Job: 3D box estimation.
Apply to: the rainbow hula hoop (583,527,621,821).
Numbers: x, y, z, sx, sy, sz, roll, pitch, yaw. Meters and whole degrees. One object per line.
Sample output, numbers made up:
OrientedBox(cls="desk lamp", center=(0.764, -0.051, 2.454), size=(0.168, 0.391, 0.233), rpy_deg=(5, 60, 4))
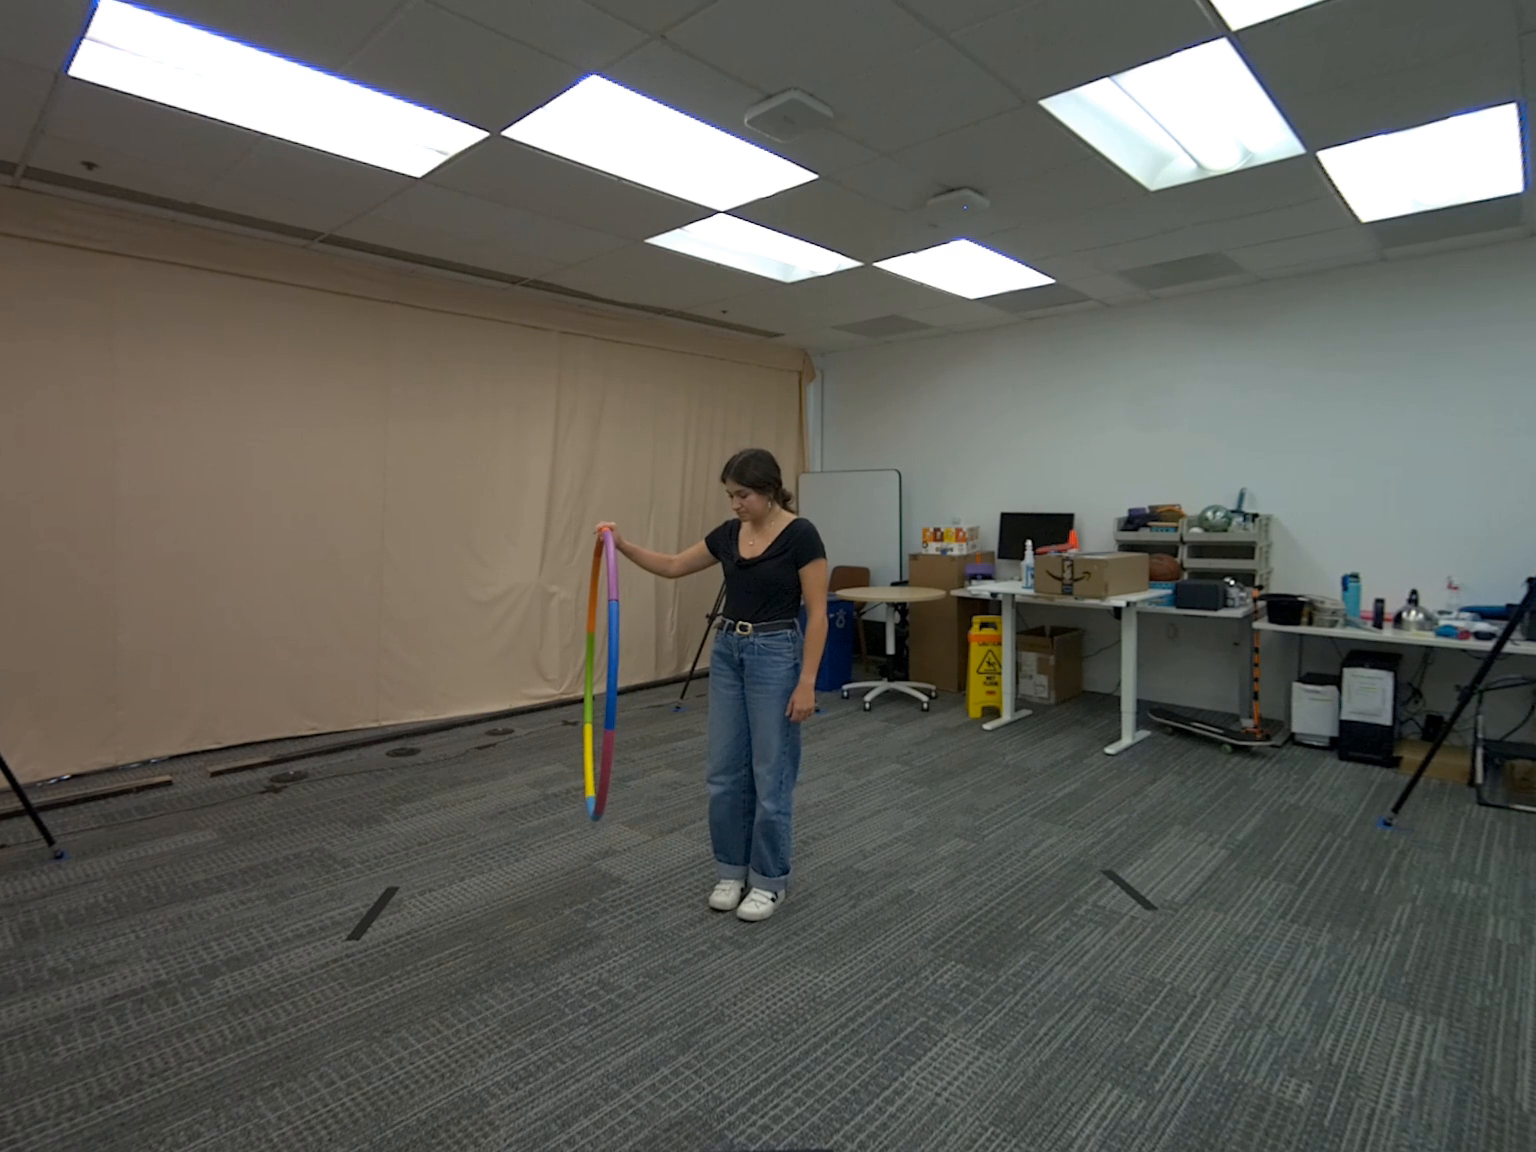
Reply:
OrientedBox(cls="rainbow hula hoop", center=(-0.577, 0.332, 2.908), size=(0.035, 0.977, 0.995), rpy_deg=(3, 3, -16))
